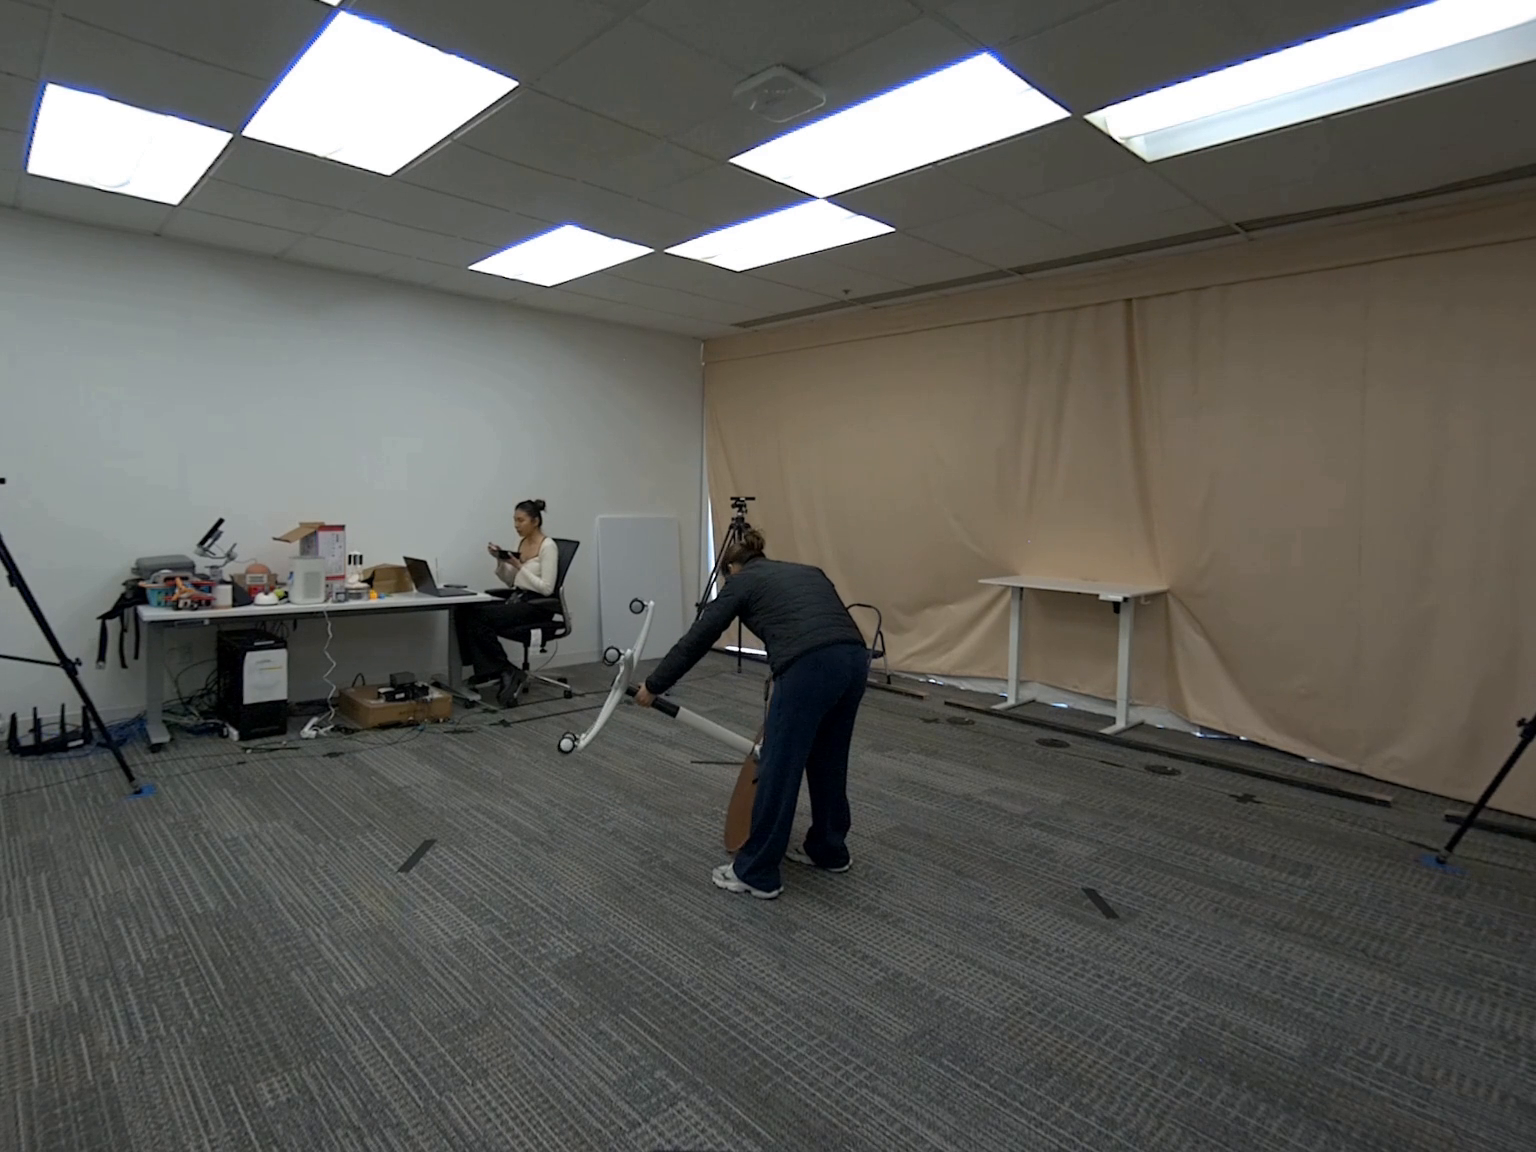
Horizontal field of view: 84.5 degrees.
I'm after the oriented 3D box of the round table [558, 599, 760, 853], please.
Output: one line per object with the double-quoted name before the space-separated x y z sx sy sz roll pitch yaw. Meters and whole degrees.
"round table" -0.328 0.558 3.337 0.781 0.784 0.790 27 1 -7
